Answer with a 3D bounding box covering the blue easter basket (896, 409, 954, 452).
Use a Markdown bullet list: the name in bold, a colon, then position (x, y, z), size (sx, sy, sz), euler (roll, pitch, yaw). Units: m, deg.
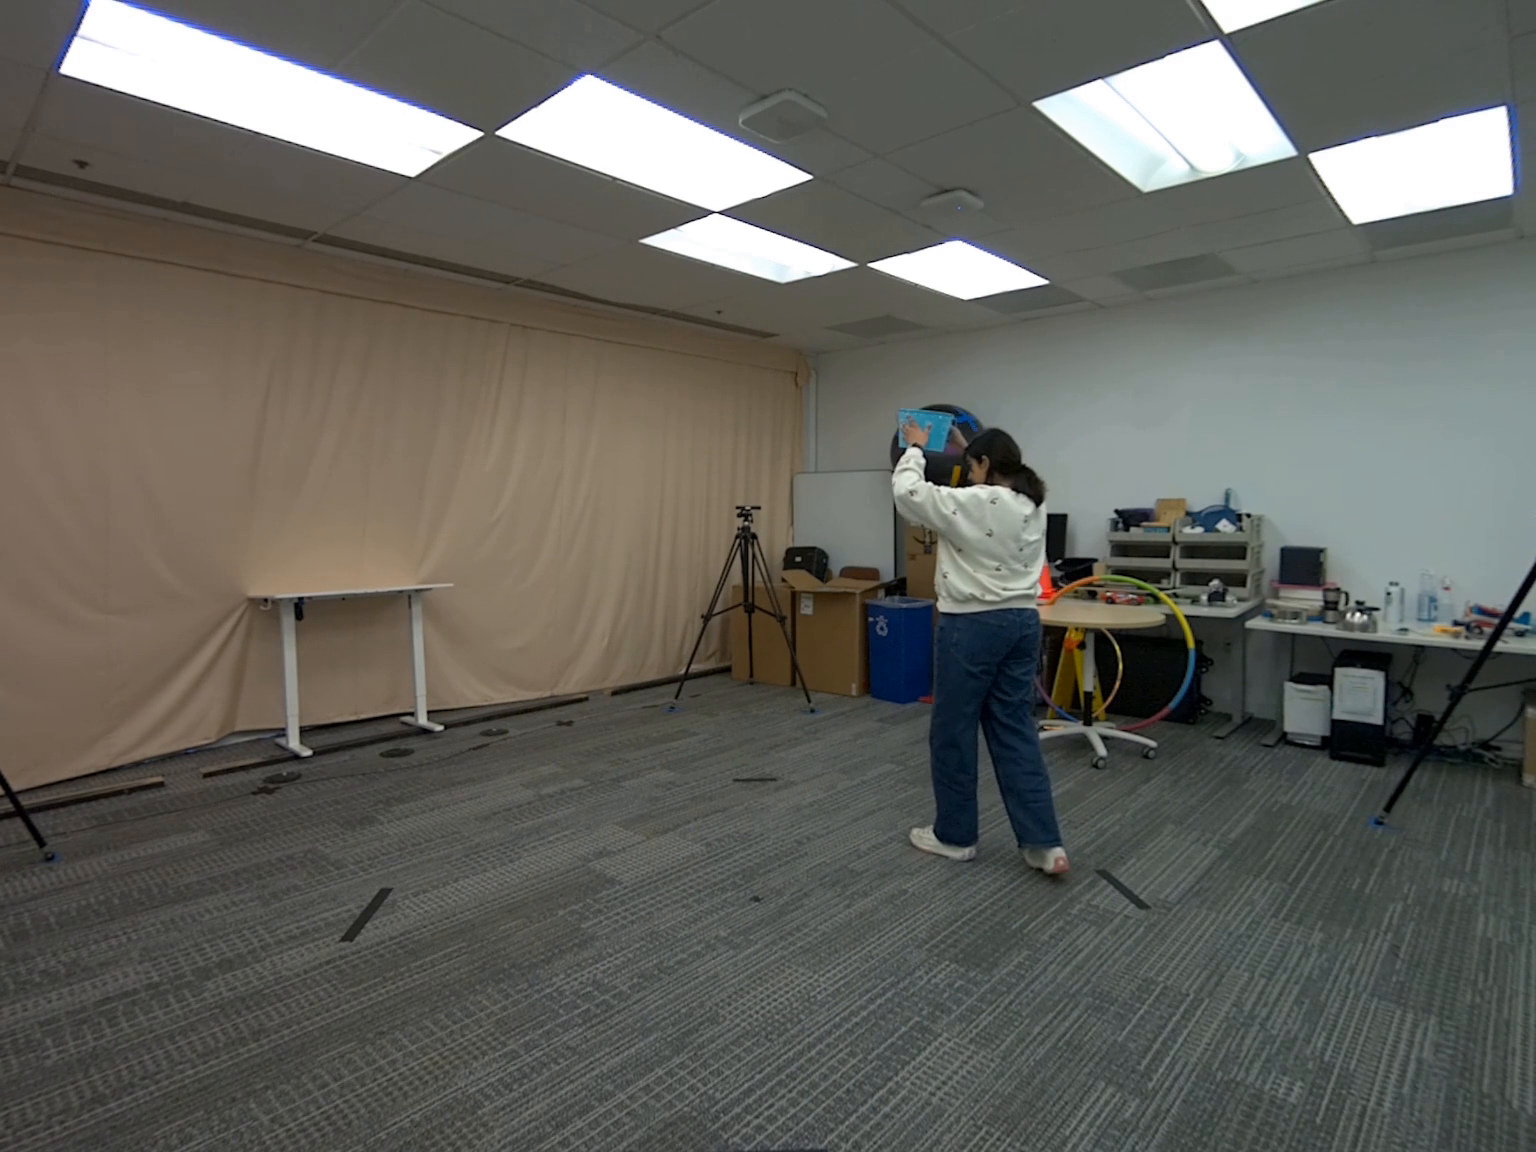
- **blue easter basket**: position (0.658, -0.597, 3.481), size (0.243, 0.155, 0.245), euler (7, 7, -3)
